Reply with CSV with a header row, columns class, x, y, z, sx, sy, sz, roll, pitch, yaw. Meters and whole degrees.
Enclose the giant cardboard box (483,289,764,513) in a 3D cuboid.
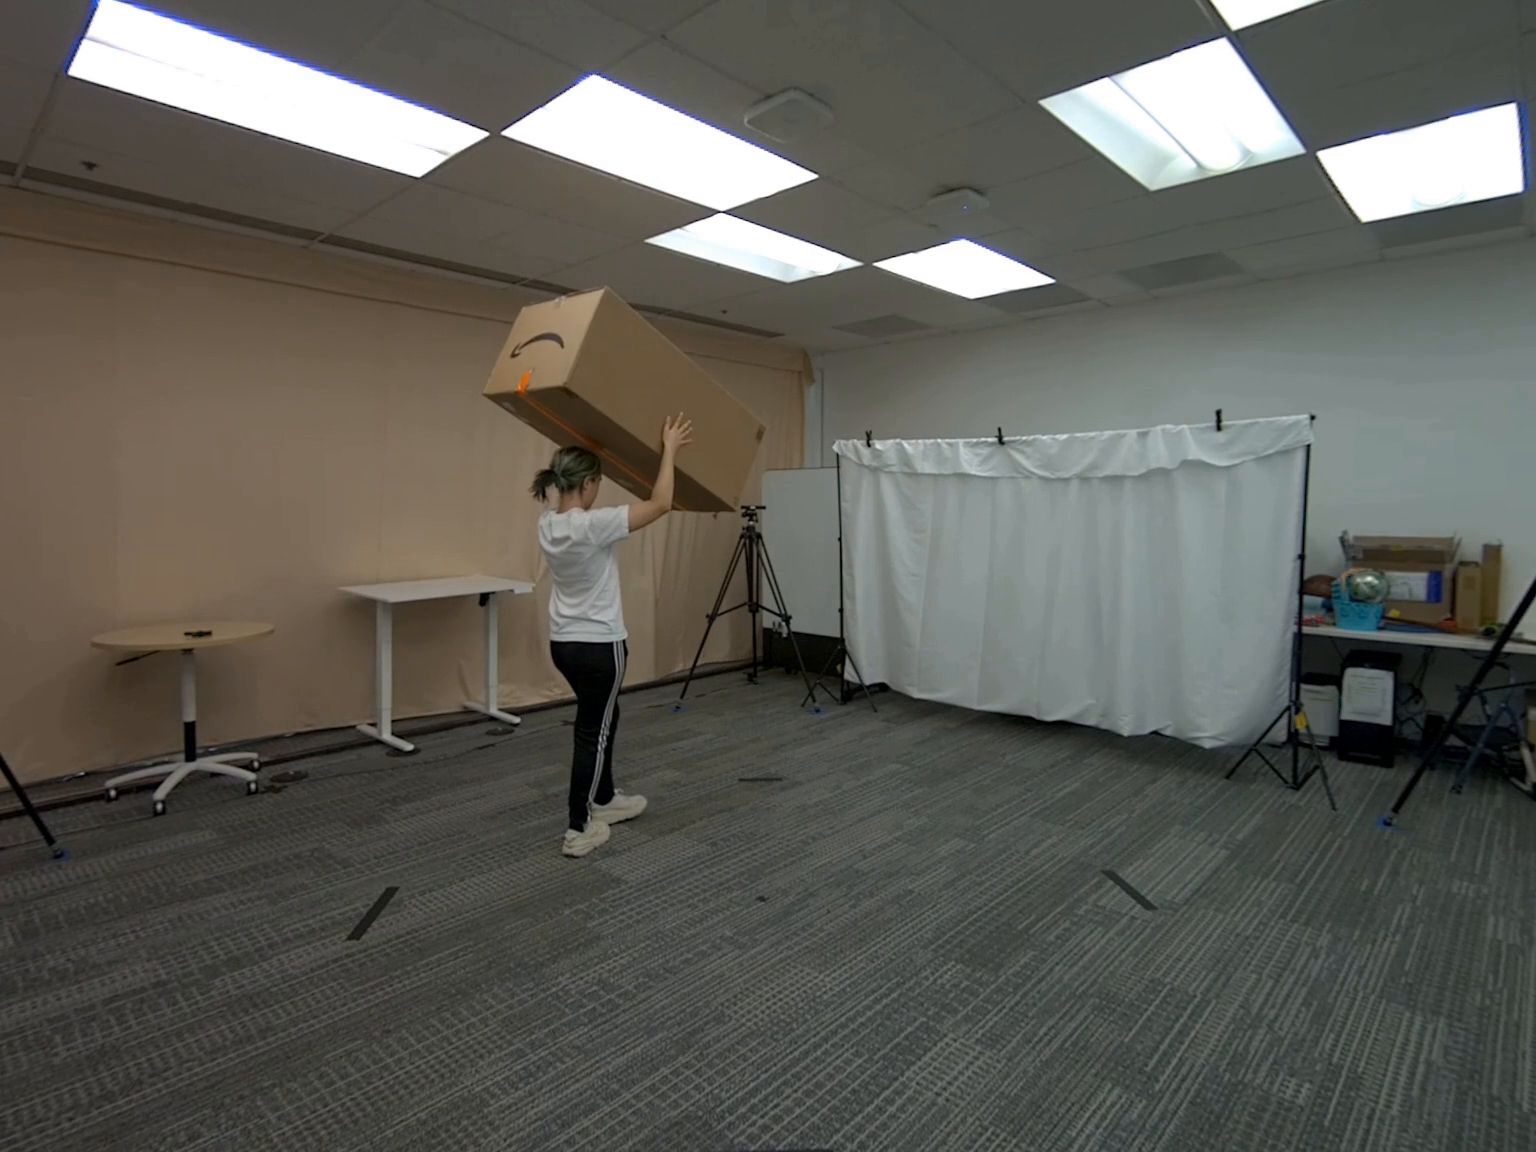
class,x,y,z,sx,sy,sz,roll,pitch,yaw
giant cardboard box,-0.568,-0.681,3.555,0.604,0.448,0.989,5,-21,43
